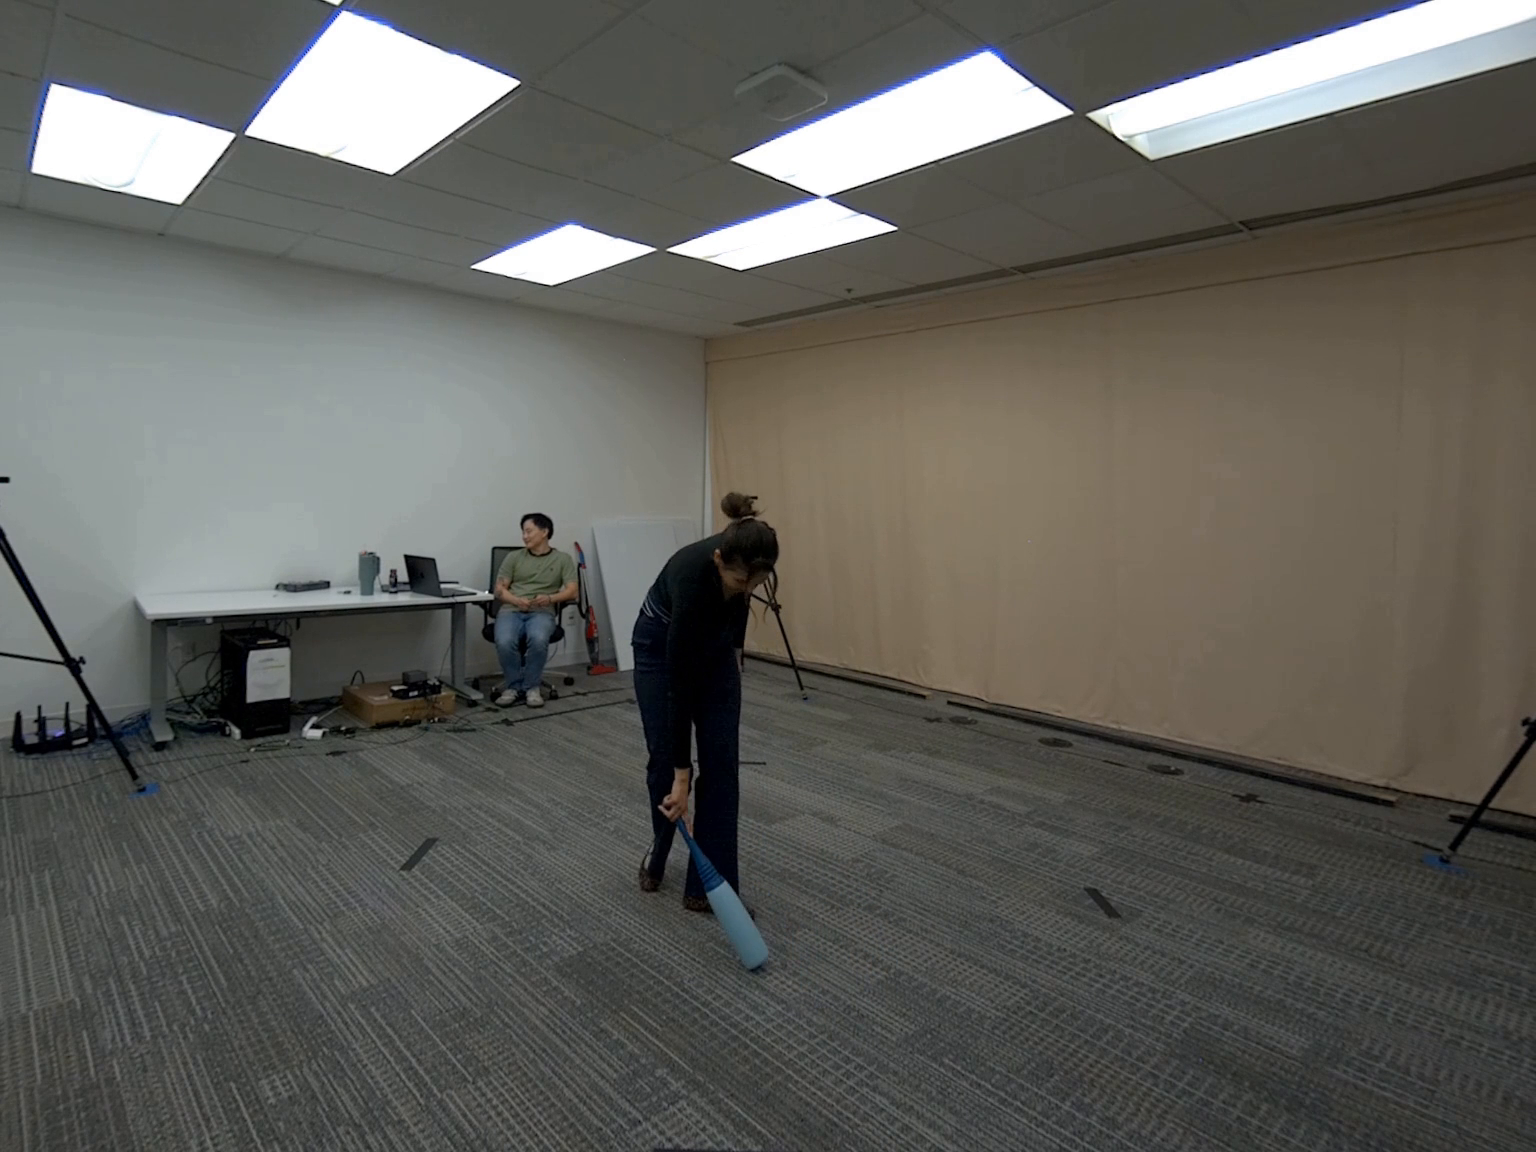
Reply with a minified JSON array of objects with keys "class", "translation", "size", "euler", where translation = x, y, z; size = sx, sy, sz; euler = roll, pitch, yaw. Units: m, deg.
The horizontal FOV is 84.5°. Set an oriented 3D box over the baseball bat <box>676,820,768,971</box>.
[{"class":"baseball bat","translation":[-0.179,0.923,2.530],"size":[0.089,0.549,0.088],"euler":[-31,-10,-7]}]
